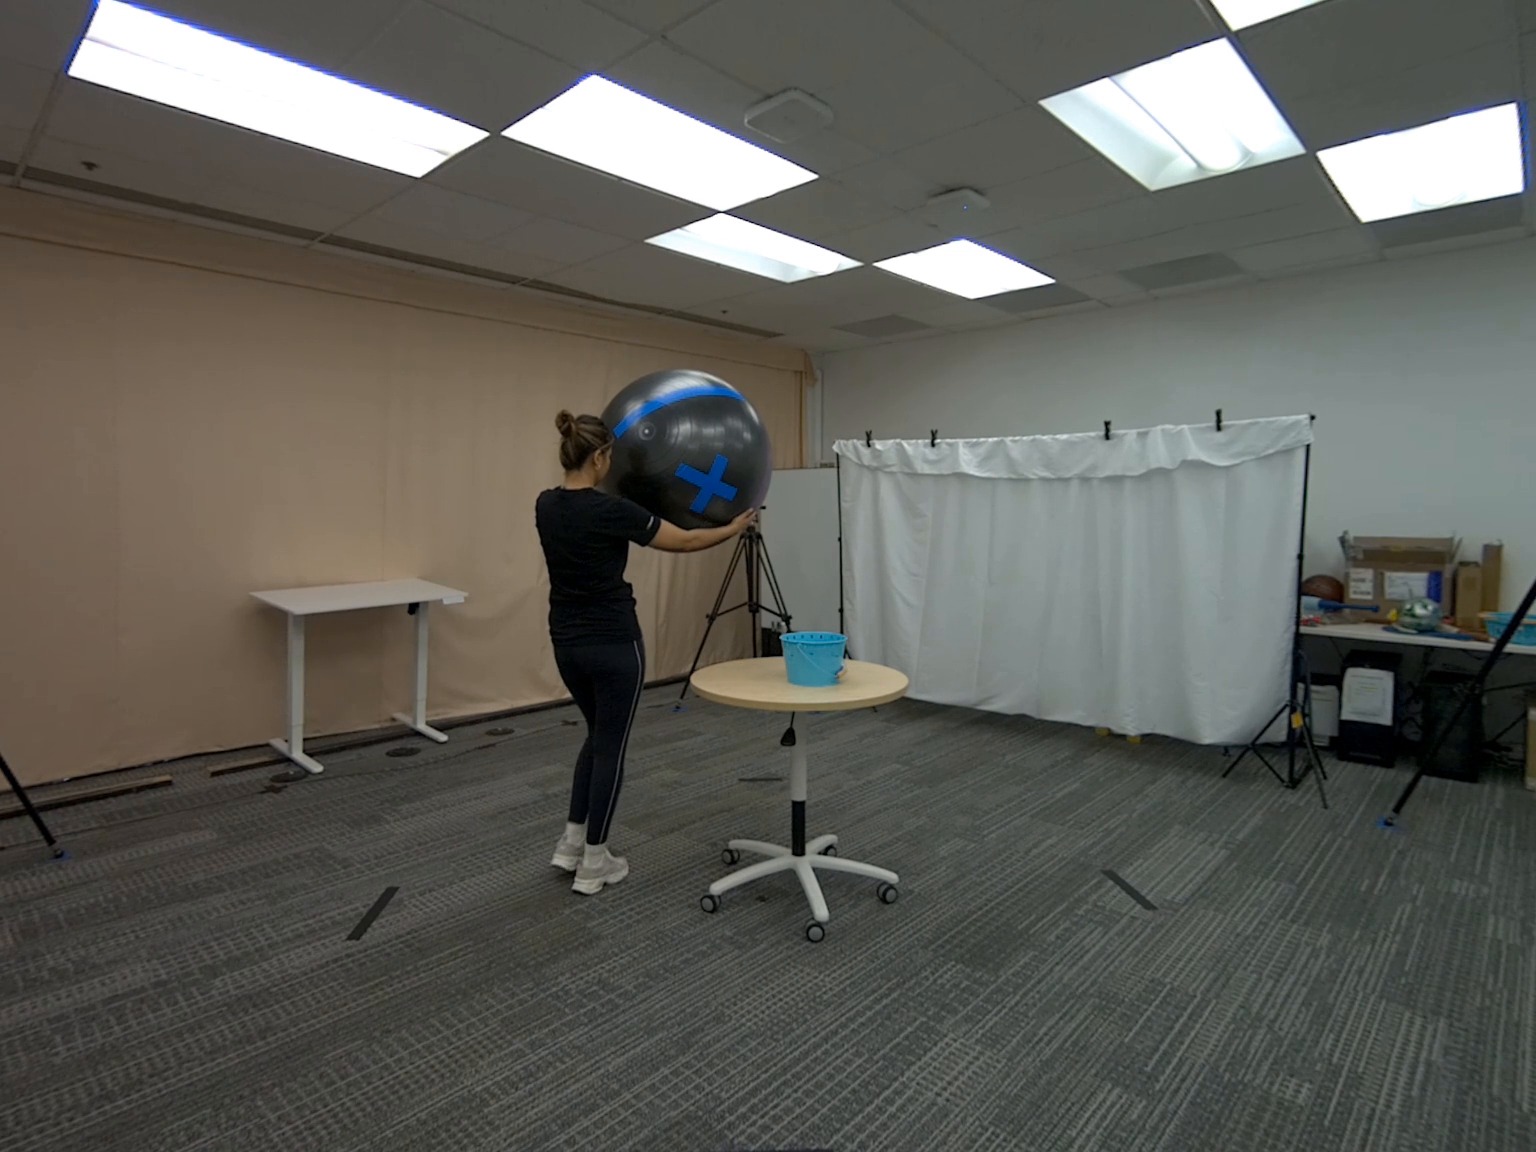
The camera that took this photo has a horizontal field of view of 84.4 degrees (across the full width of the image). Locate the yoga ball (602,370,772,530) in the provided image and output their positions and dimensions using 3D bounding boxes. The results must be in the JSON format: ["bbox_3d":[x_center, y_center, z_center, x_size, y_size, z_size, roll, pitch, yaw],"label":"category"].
[{"bbox_3d":[-0.357,-0.468,3.505,0.757,0.756,0.761,0,4,-2],"label":"yoga ball"}]
